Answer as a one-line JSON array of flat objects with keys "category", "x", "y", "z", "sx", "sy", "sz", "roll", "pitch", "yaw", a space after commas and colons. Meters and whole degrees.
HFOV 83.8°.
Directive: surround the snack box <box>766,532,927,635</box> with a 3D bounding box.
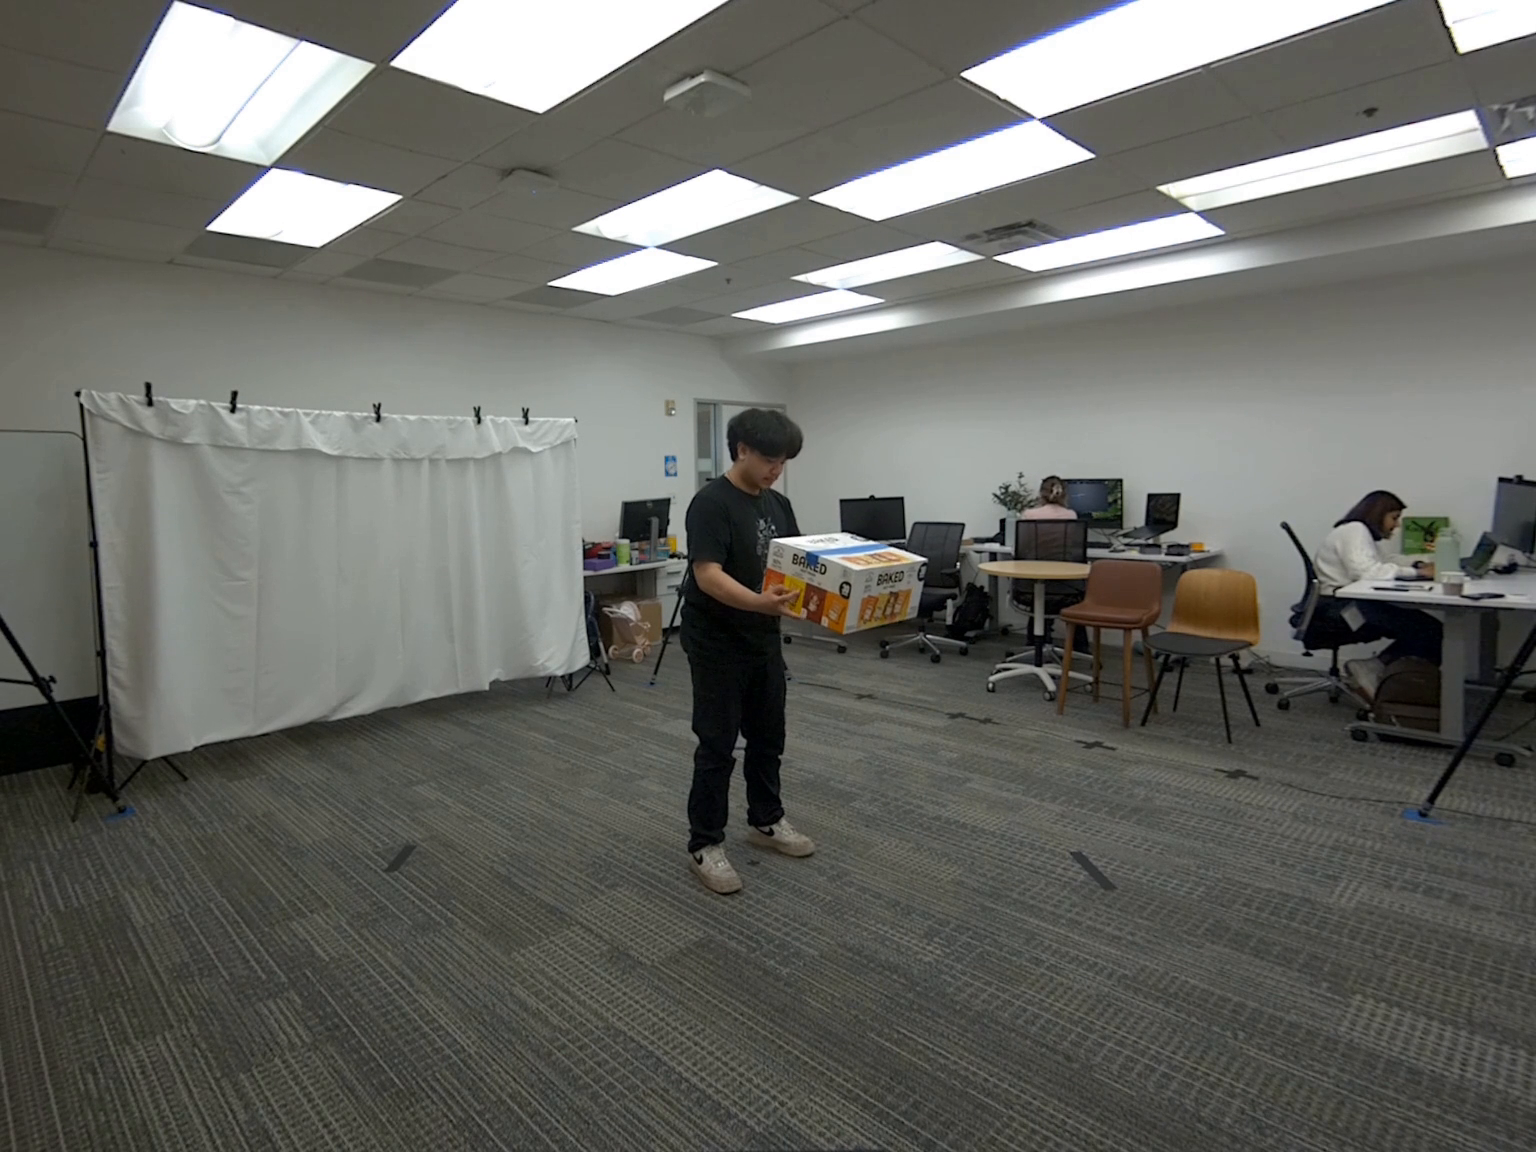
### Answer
[{"category": "snack box", "x": 0.245, "y": 0.012, "z": 2.756, "sx": 0.353, "sy": 0.203, "sz": 0.395, "roll": 22, "pitch": 20, "yaw": 40}]
